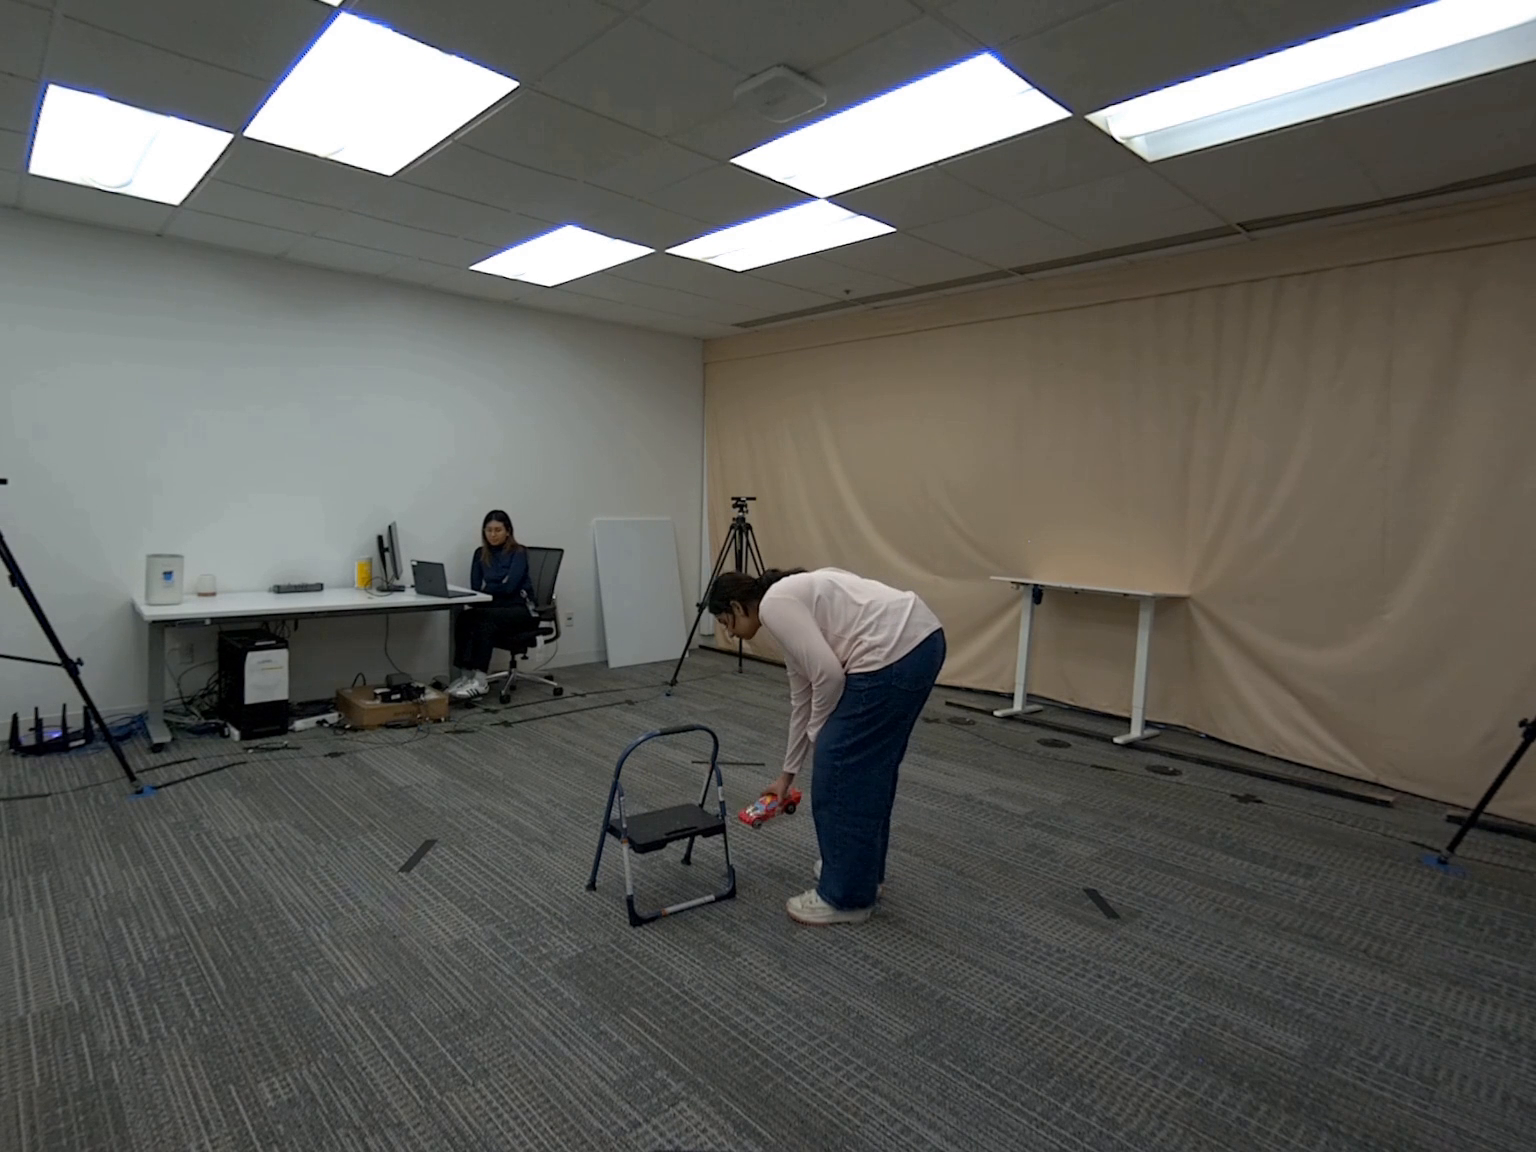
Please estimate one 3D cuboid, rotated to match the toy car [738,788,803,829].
[{"bbox_3d":[0.003,0.868,3.161,0.252,0.082,0.133,-27,13,-23],"label":"toy car"}]
